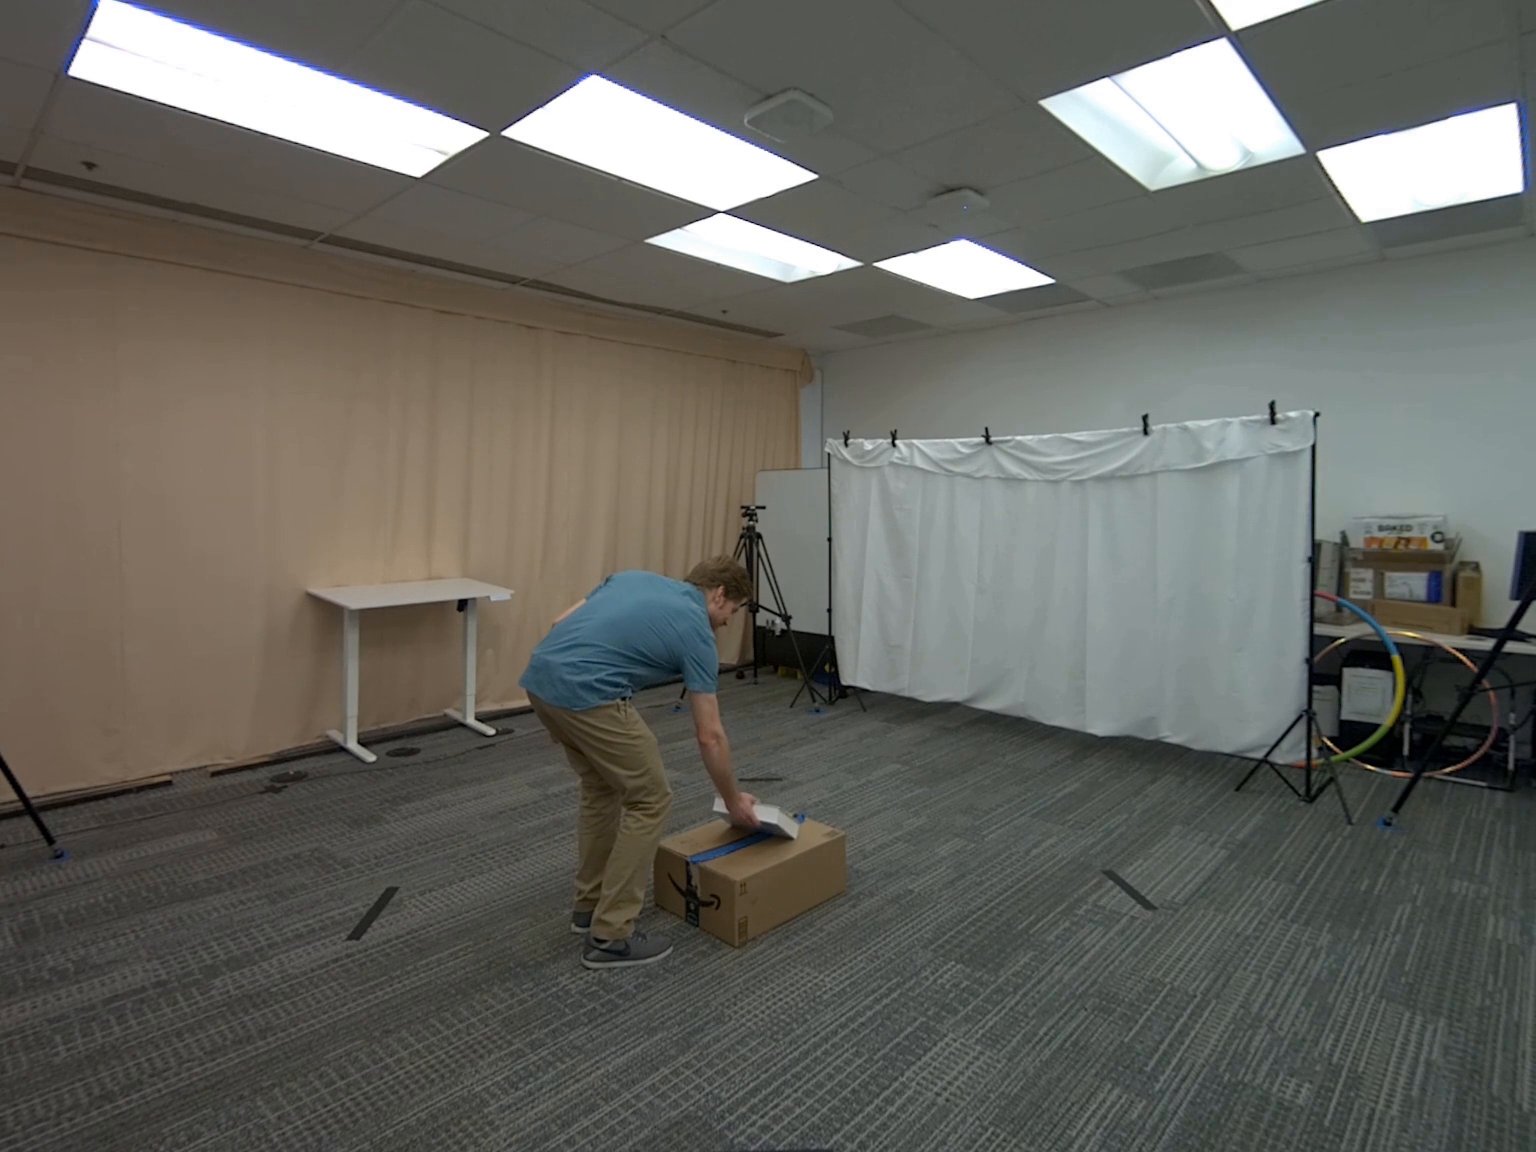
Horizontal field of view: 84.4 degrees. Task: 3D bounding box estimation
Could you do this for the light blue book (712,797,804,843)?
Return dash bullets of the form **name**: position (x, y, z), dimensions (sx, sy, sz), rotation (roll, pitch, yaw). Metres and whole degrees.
- **light blue book**: position (-0.037, 0.859, 2.985), dimensions (0.268, 0.059, 0.185), rotation (2, -30, 29)
